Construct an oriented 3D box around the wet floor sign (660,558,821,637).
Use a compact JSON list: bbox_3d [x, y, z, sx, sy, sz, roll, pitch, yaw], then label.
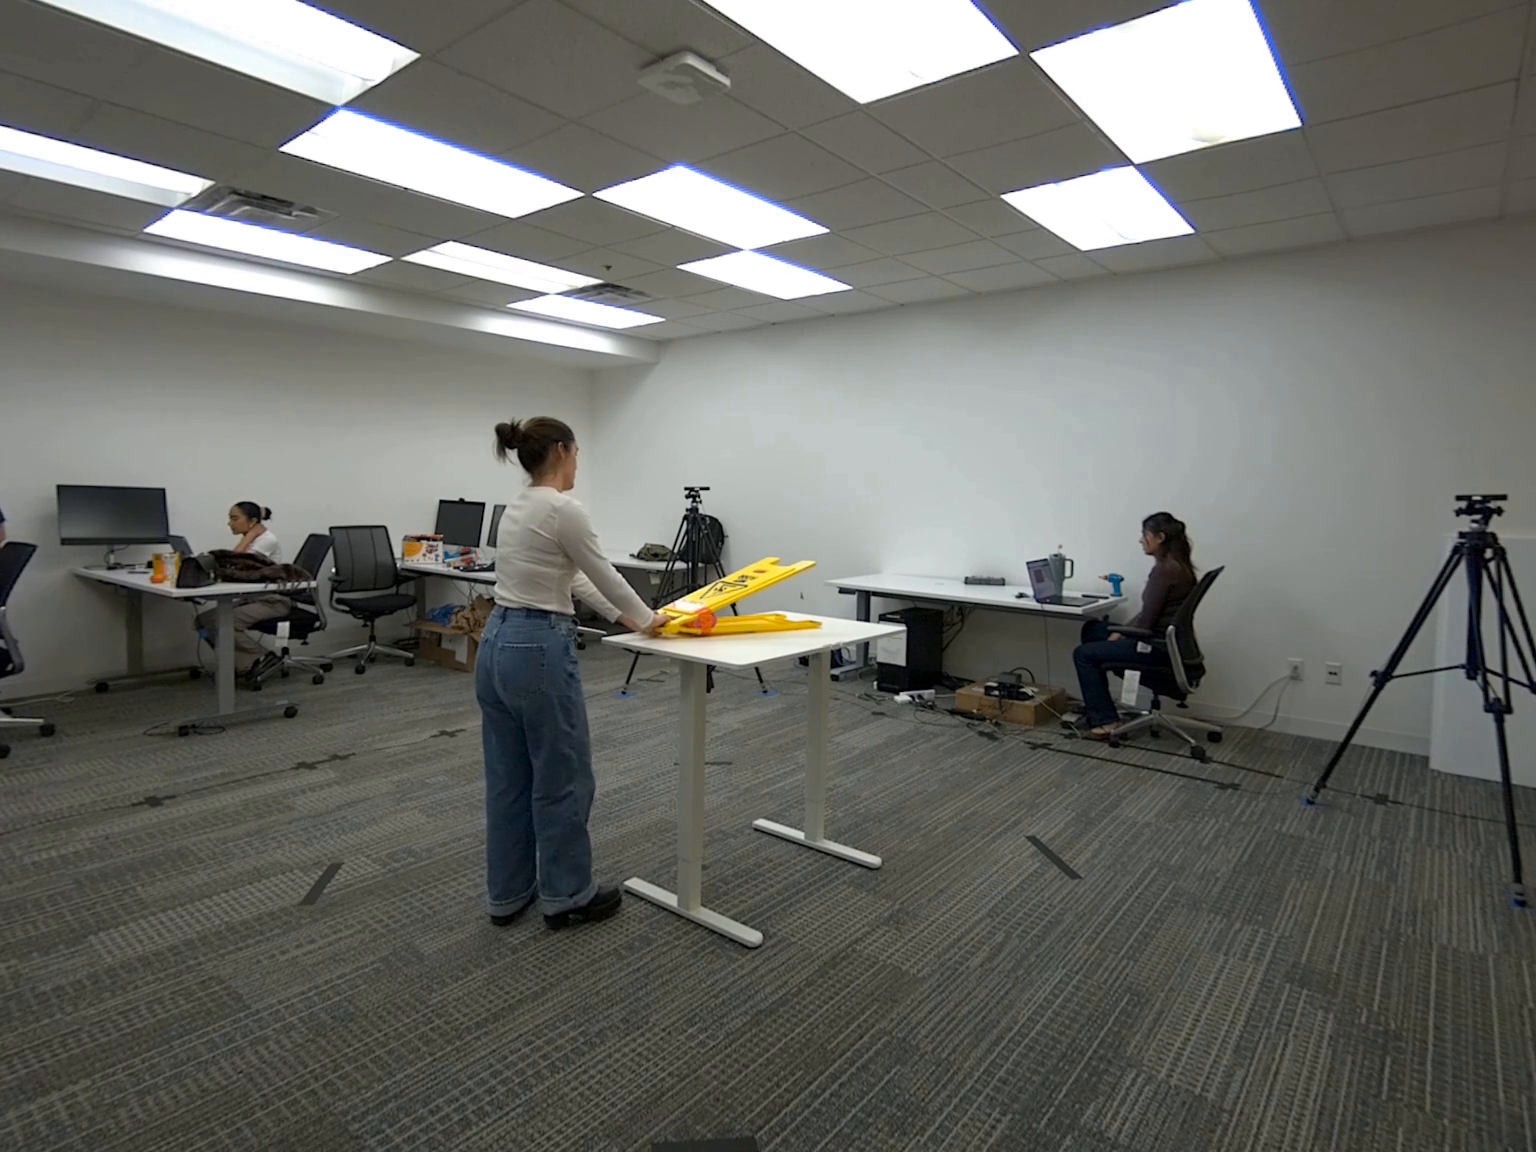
[{"bbox_3d":[-0.158,0.124,3.062,0.631,0.287,0.291,-13,11,-34],"label":"wet floor sign"}]
